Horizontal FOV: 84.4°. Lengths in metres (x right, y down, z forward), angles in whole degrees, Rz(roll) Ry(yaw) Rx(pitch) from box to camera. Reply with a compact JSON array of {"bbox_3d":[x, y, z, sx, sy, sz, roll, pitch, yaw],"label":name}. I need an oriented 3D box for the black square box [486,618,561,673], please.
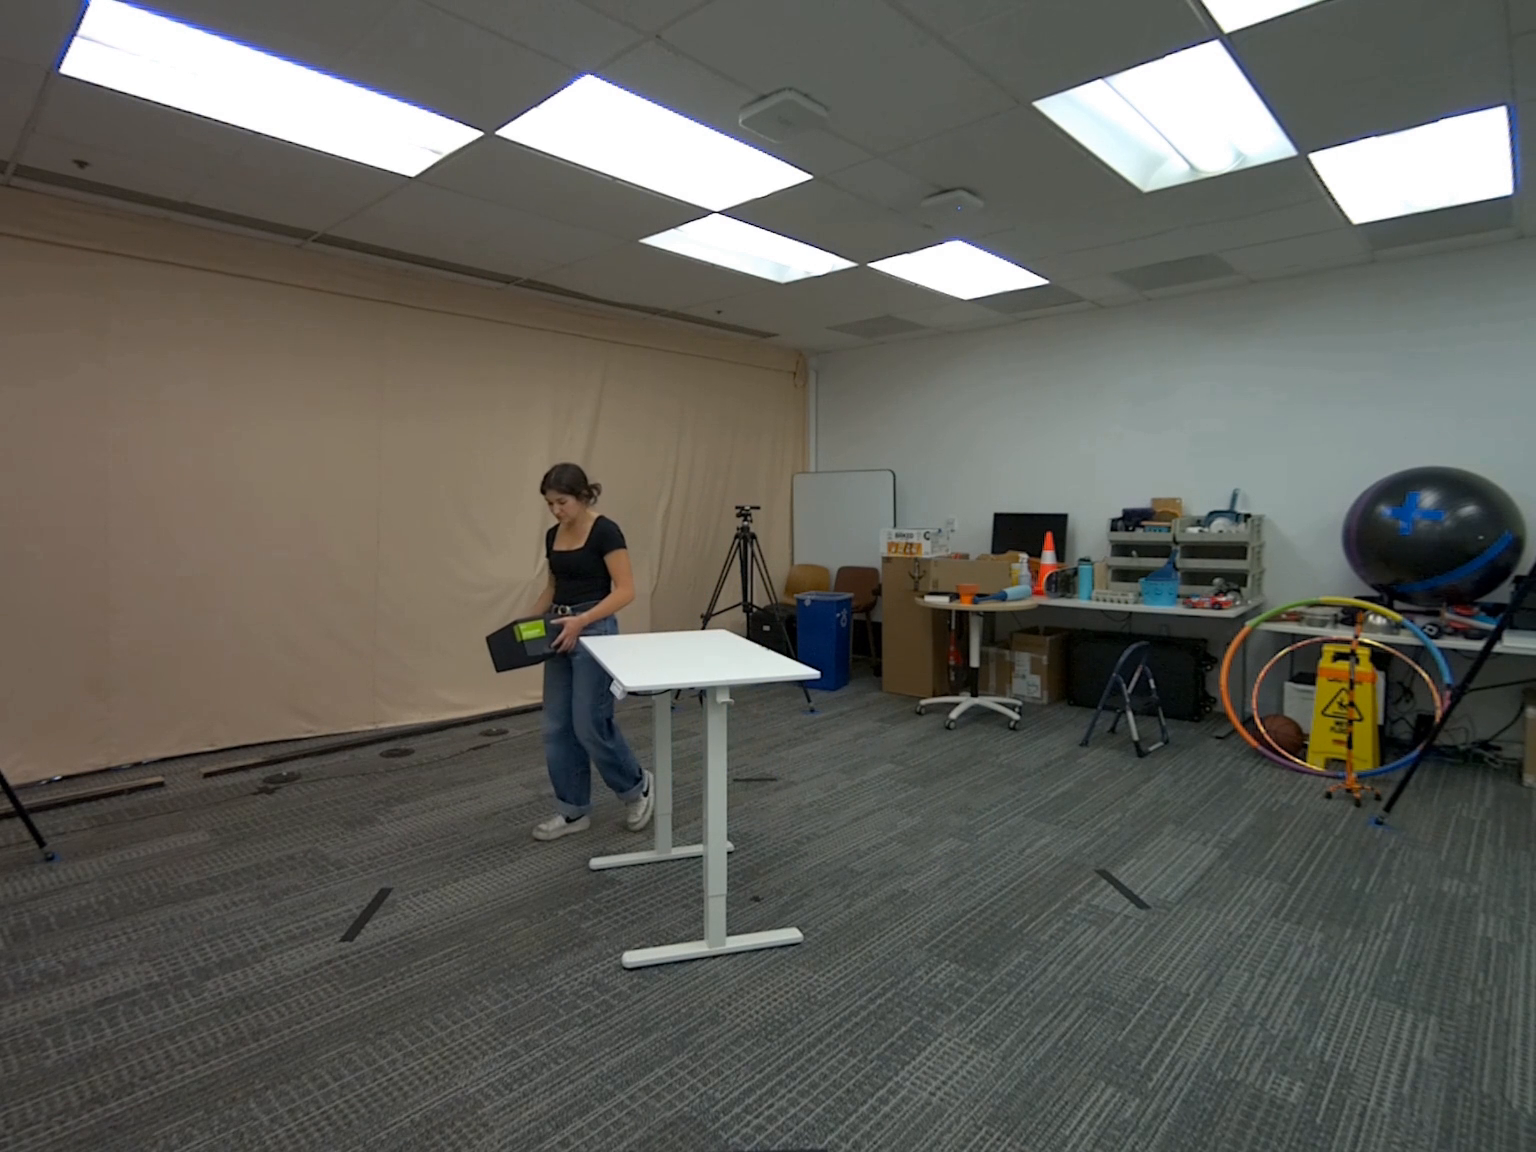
[{"bbox_3d":[-0.968,0.269,3.419,0.221,0.157,0.221,-26,-11,33],"label":"black square box"}]
